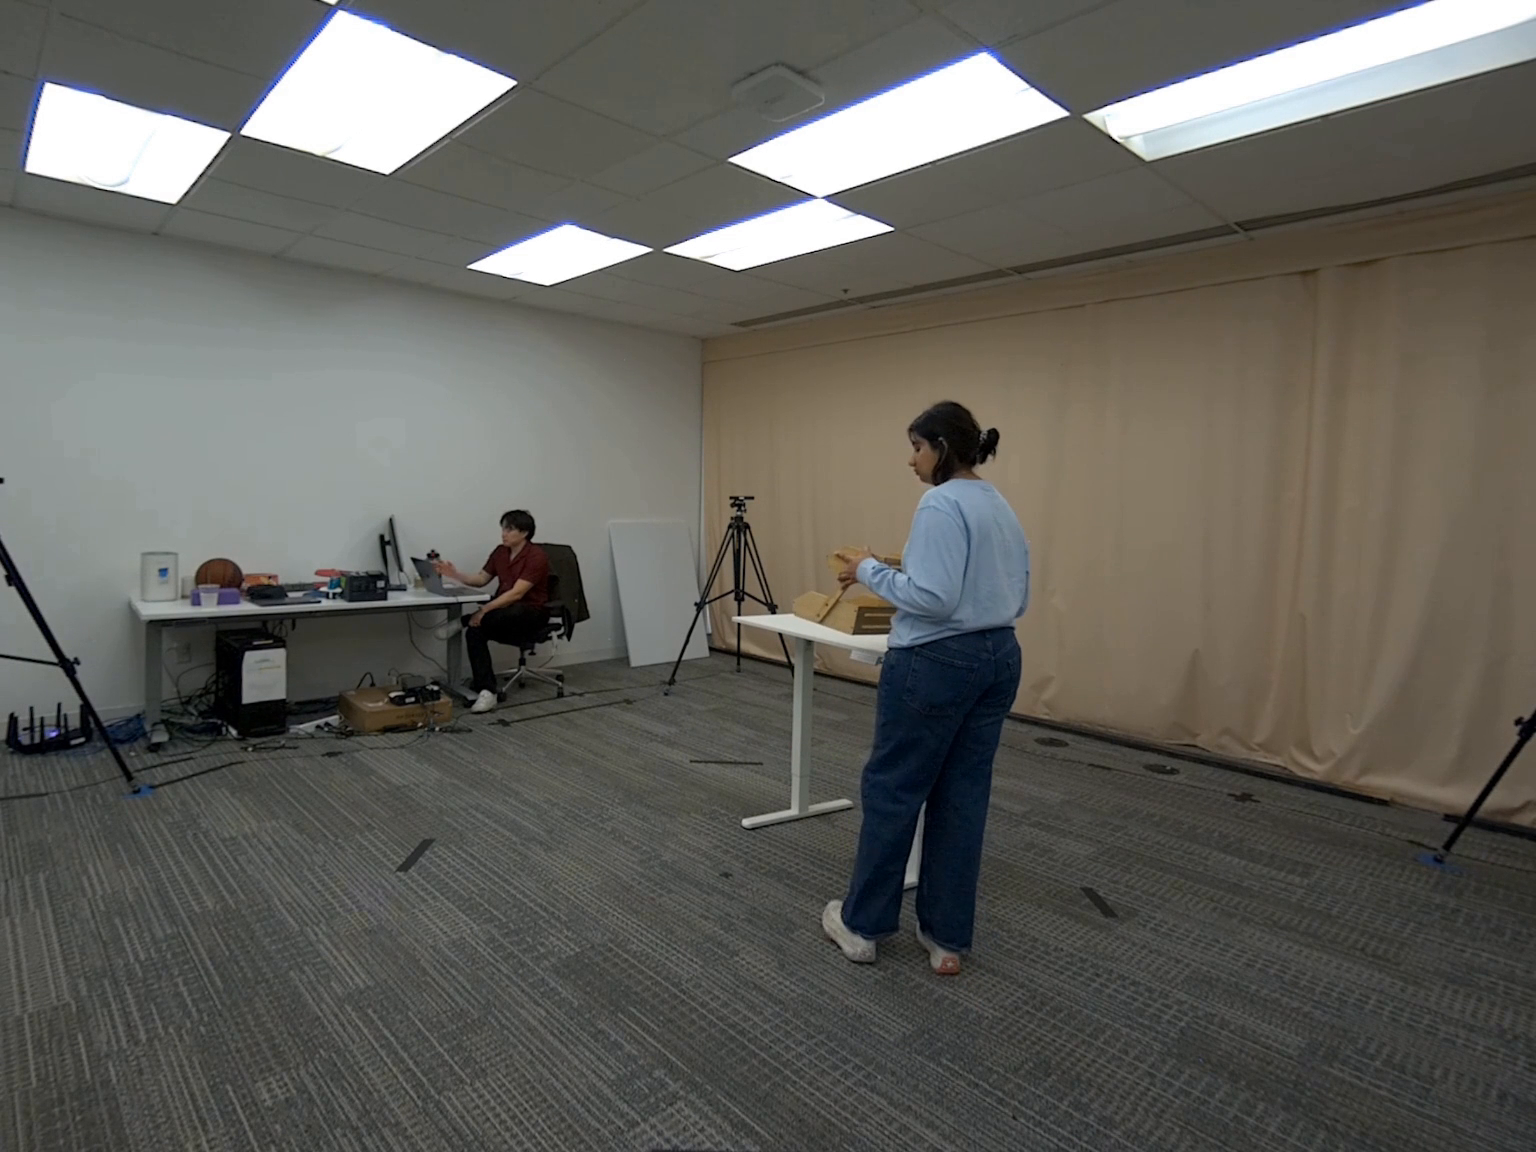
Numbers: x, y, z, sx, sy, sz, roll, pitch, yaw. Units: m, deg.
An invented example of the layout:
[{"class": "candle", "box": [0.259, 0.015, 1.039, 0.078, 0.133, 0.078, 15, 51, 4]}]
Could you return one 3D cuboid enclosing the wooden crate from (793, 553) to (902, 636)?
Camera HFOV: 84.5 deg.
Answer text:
[{"class": "wooden crate", "box": [0.304, 0.037, 2.728, 0.311, 0.272, 0.316, 18, 9, 41]}]
